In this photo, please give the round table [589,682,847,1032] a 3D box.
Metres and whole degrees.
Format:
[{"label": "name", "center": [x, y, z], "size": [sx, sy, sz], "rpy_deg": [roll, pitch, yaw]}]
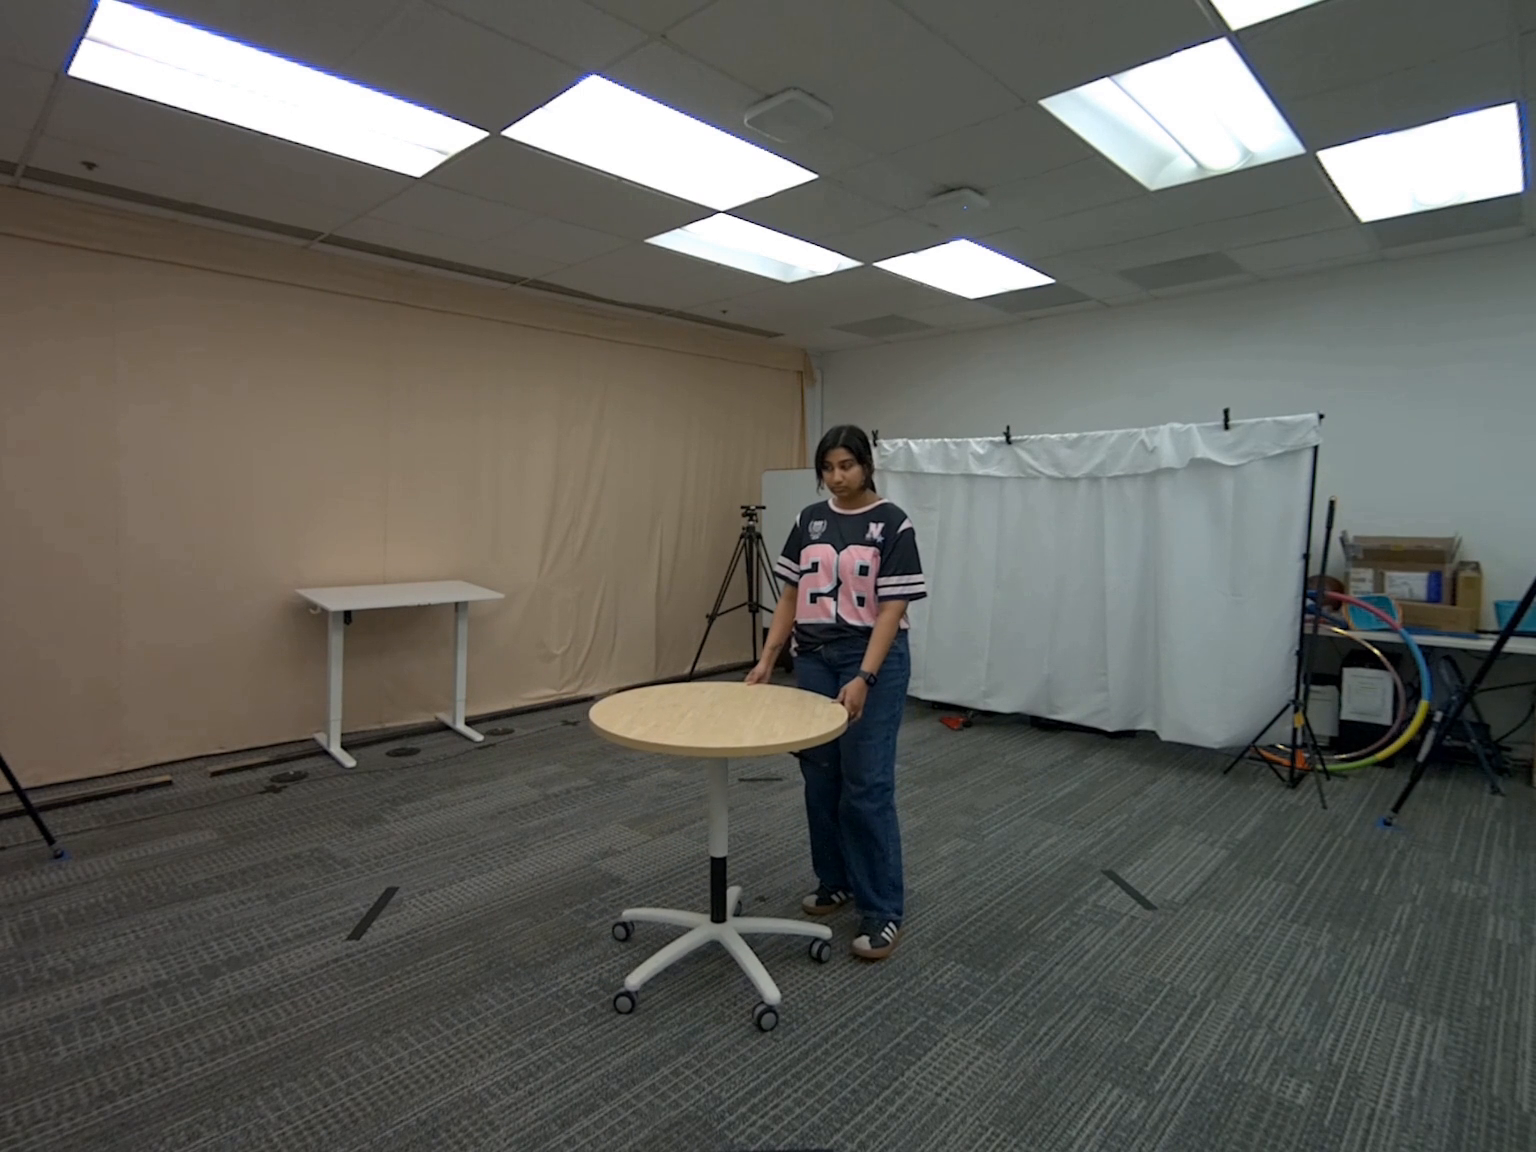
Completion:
[{"label": "round table", "center": [-0.154, 0.795, 2.532], "size": [0.763, 0.792, 0.767], "rpy_deg": [0, 4, -2]}]
